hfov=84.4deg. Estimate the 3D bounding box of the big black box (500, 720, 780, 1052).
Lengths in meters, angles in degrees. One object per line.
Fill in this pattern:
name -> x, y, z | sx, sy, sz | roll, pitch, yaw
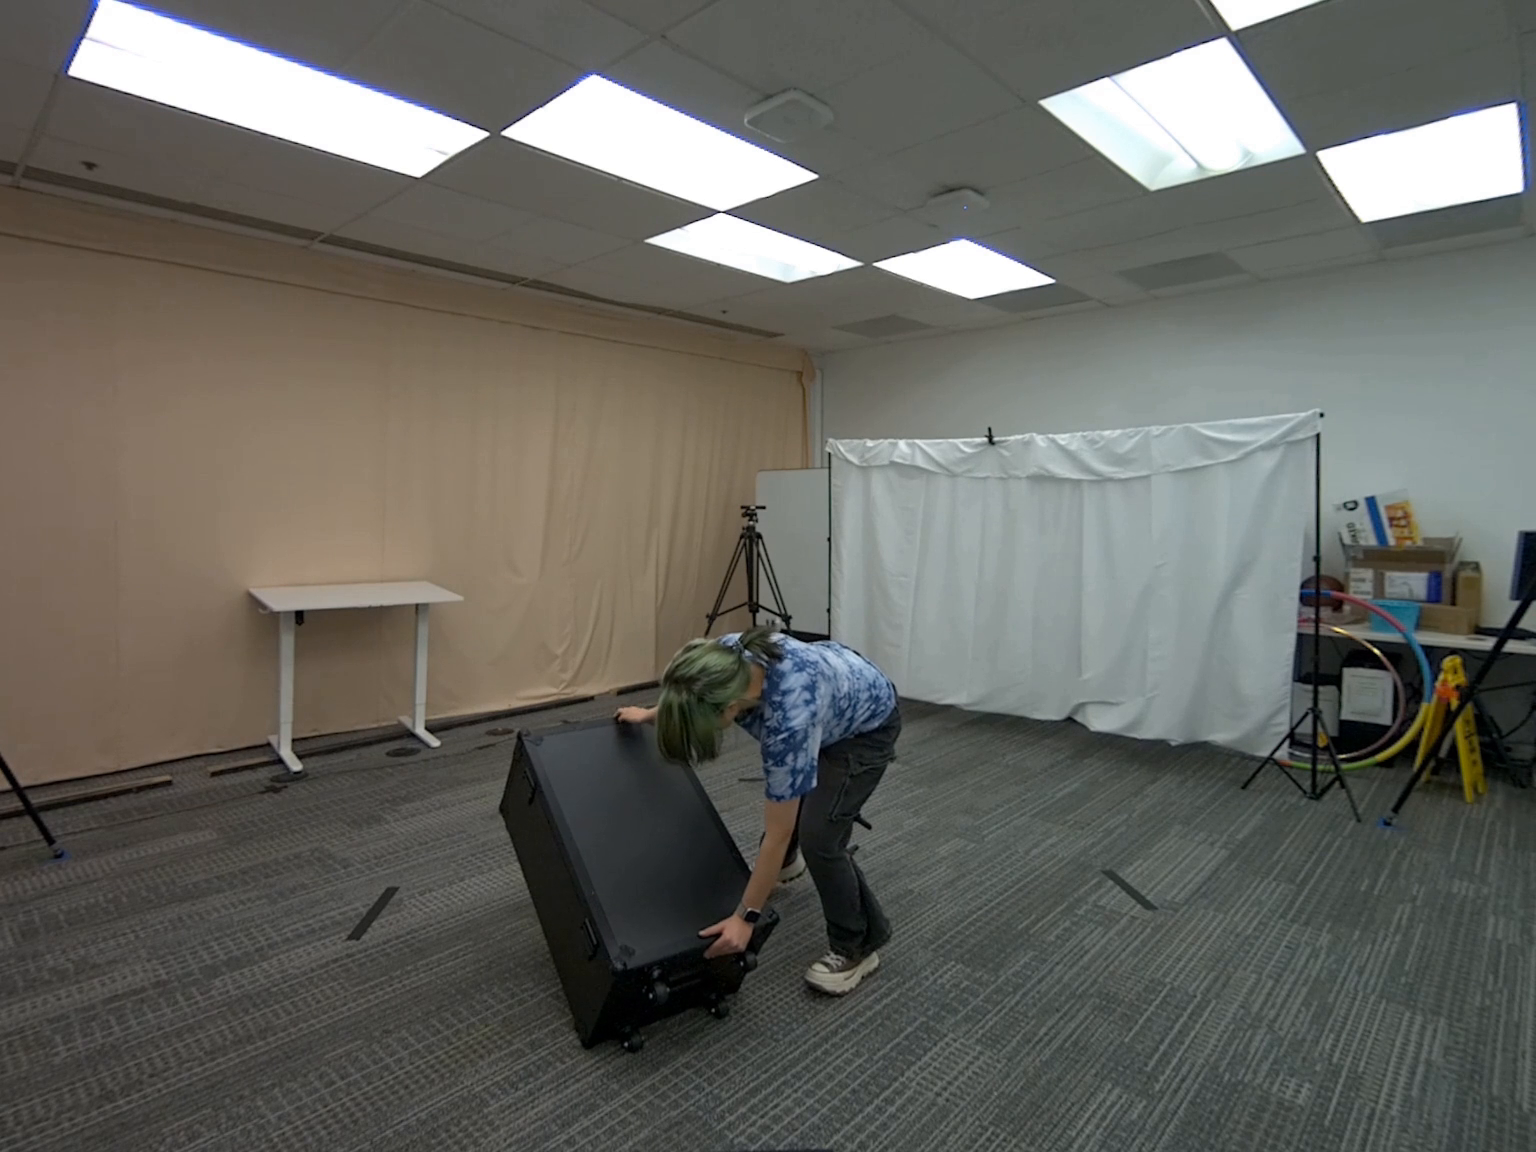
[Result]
big black box -> -0.425, 0.819, 2.494 | 0.507, 0.394, 0.891 | -5, 40, -33
